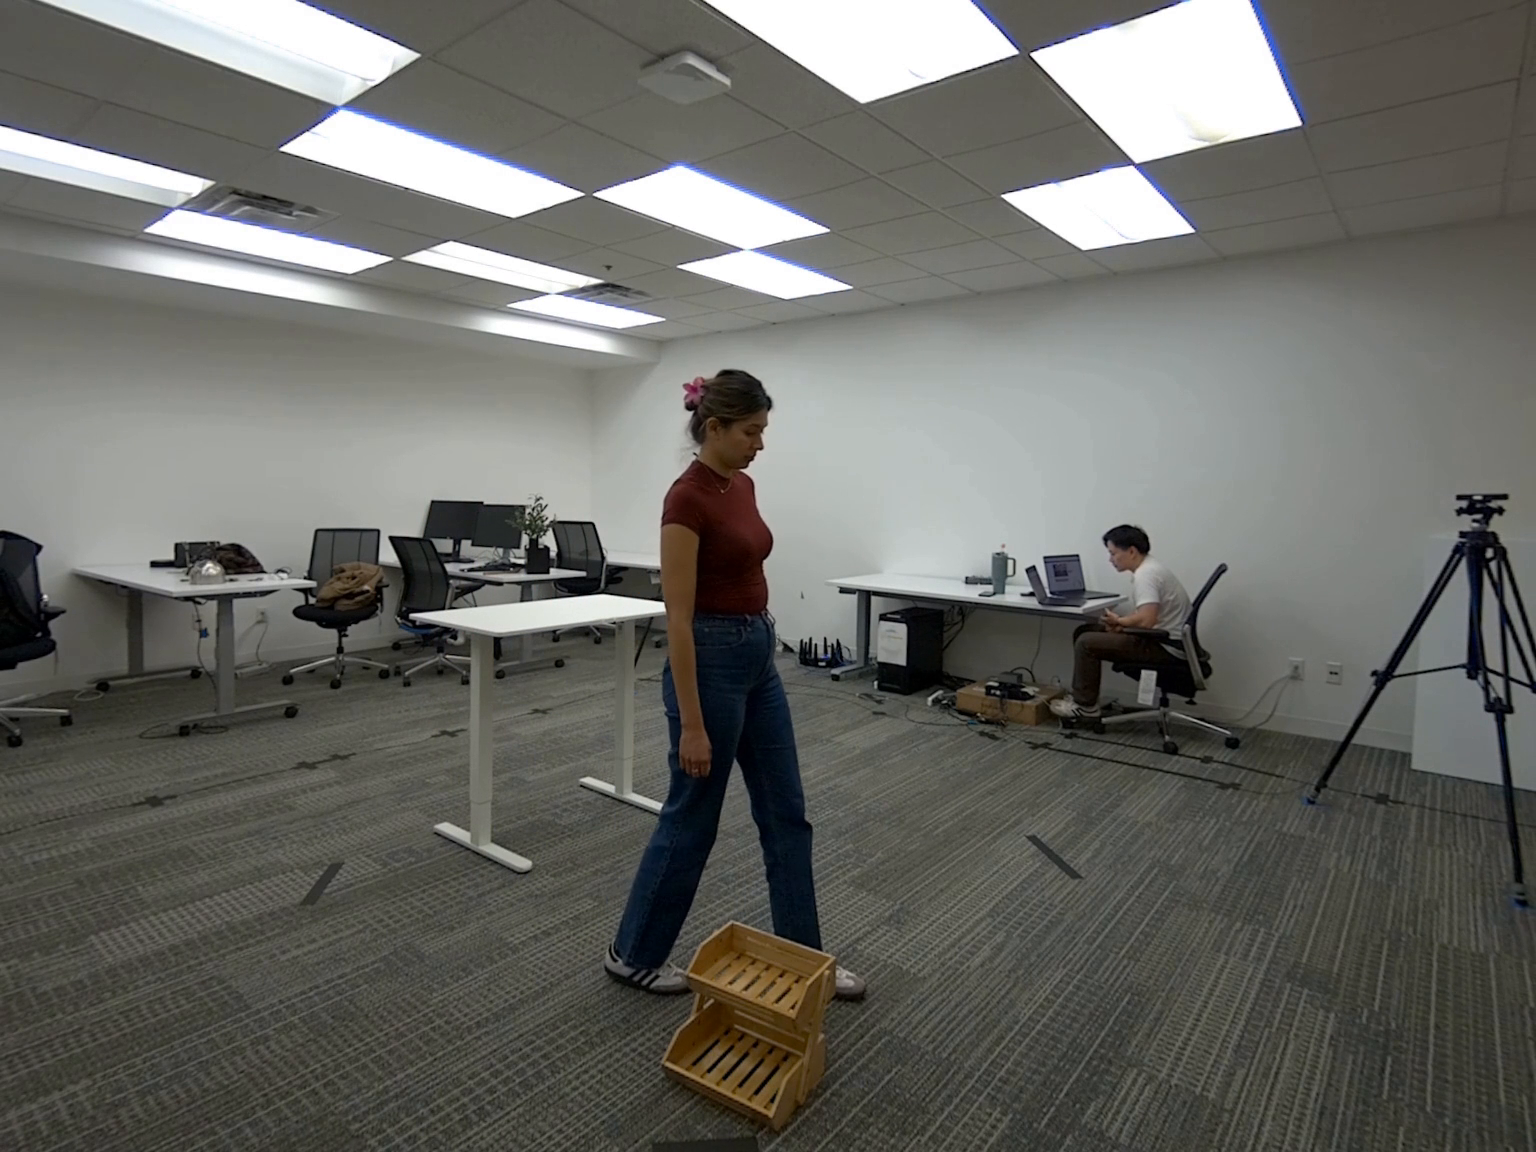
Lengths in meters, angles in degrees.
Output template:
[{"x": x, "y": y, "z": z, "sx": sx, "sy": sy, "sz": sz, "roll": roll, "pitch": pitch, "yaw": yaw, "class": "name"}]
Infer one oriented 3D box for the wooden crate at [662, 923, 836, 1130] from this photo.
[{"x": -0.049, "y": 1.048, "z": 2.022, "sx": 0.334, "sy": 0.272, "sz": 0.294, "roll": 4, "pitch": 5, "yaw": 30, "class": "wooden crate"}]
